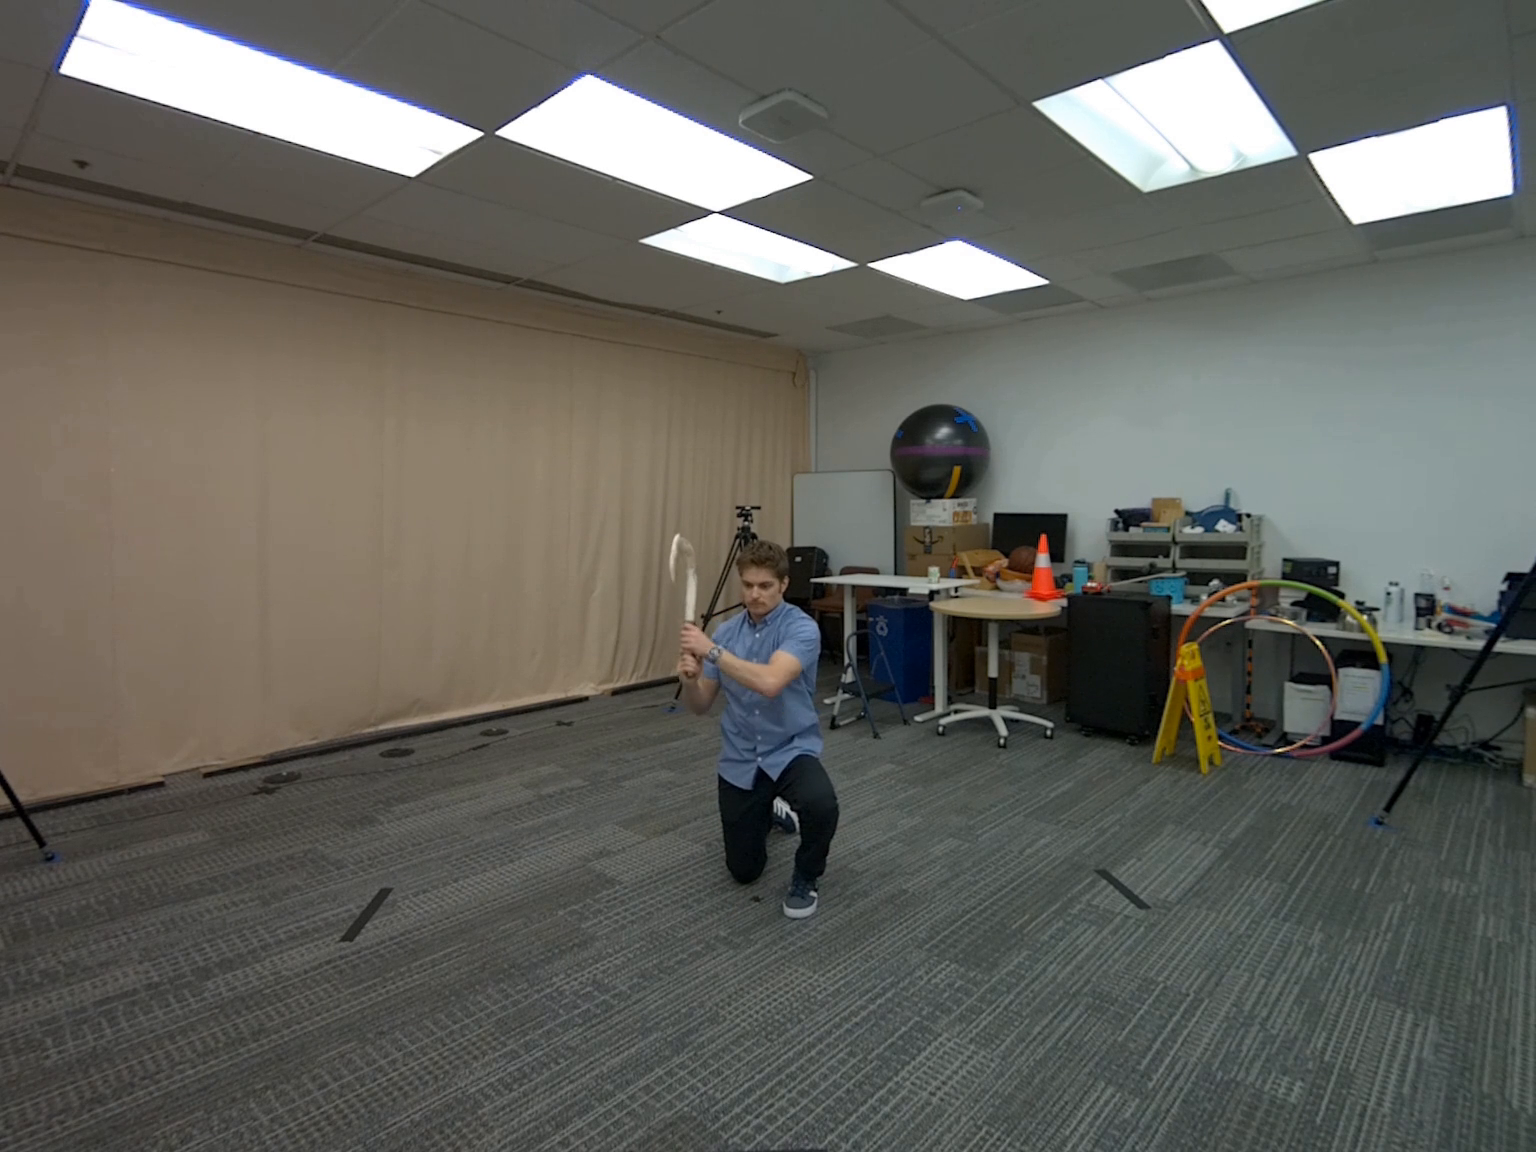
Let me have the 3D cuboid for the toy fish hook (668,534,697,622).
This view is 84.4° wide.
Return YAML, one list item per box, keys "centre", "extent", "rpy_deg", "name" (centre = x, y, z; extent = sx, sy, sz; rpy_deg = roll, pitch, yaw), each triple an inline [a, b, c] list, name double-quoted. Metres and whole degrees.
- centre: [-0.295, 0.118, 2.991]
  extent: [0.049, 0.512, 0.218]
  rpy_deg: [-11, -18, 19]
  name: "toy fish hook"
